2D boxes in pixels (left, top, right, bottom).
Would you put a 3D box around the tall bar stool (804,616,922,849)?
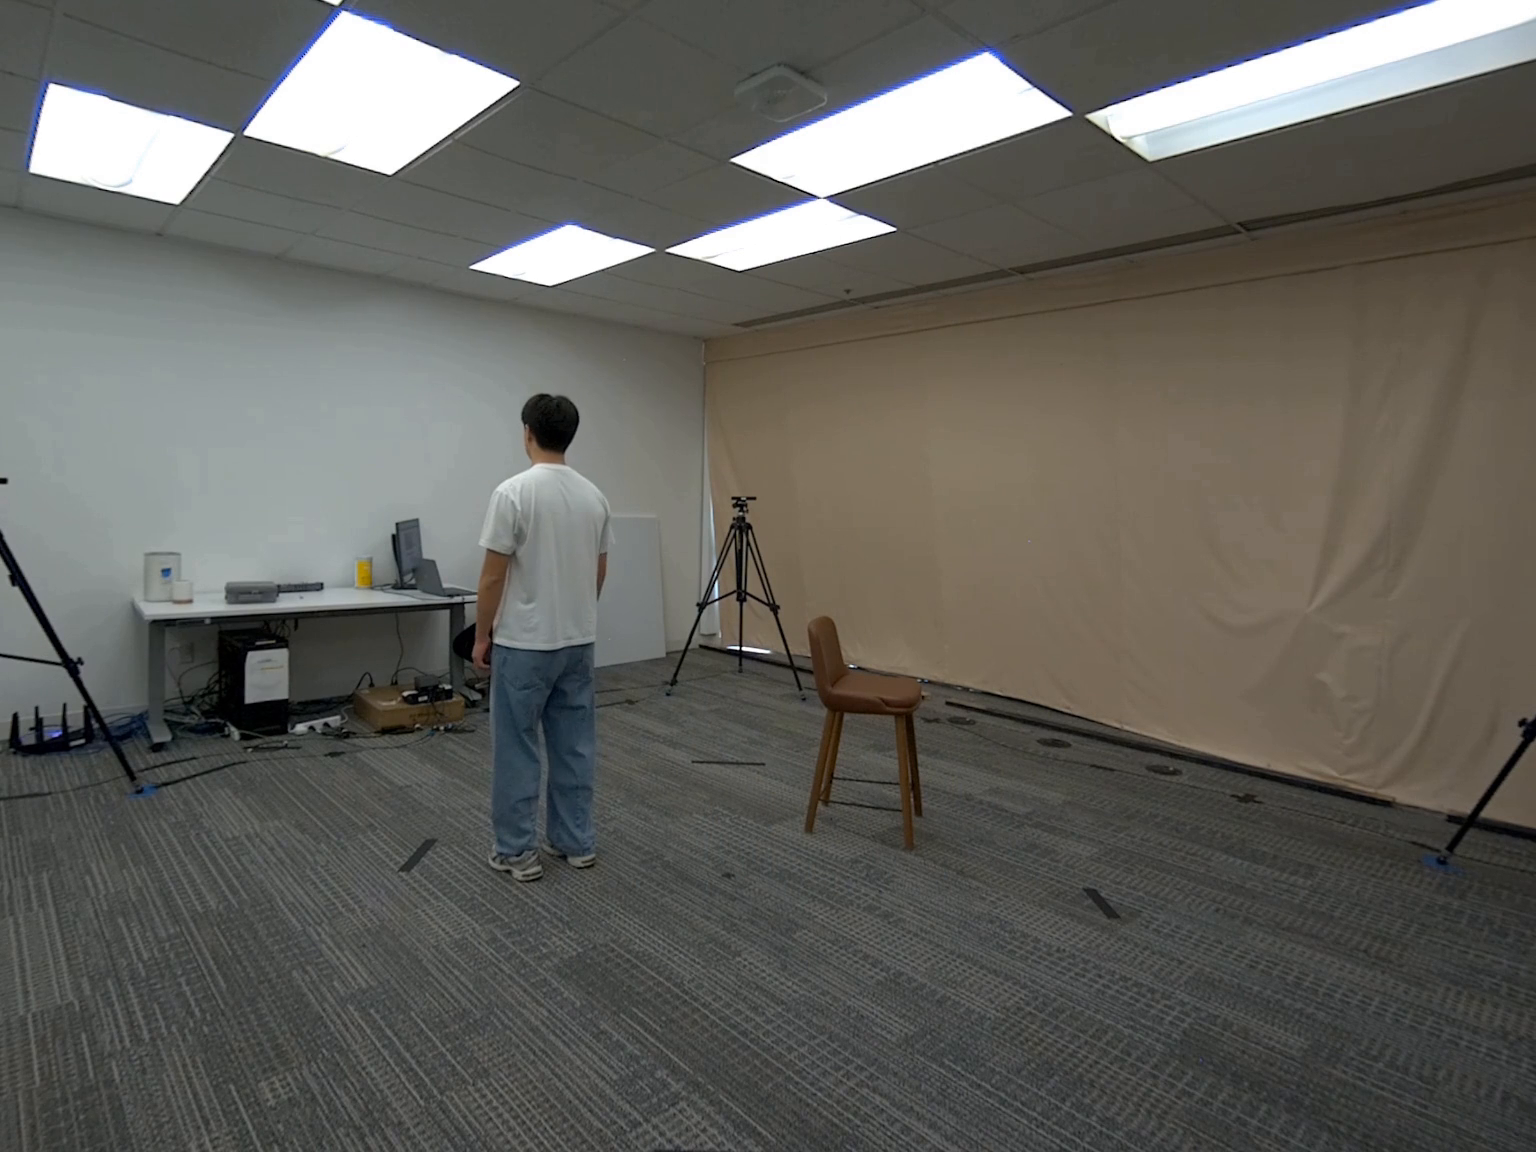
[{"bbox_3d":[0.417,0.641,3.624,0.474,0.889,0.450,1,2,18],"label":"tall bar stool"}]
